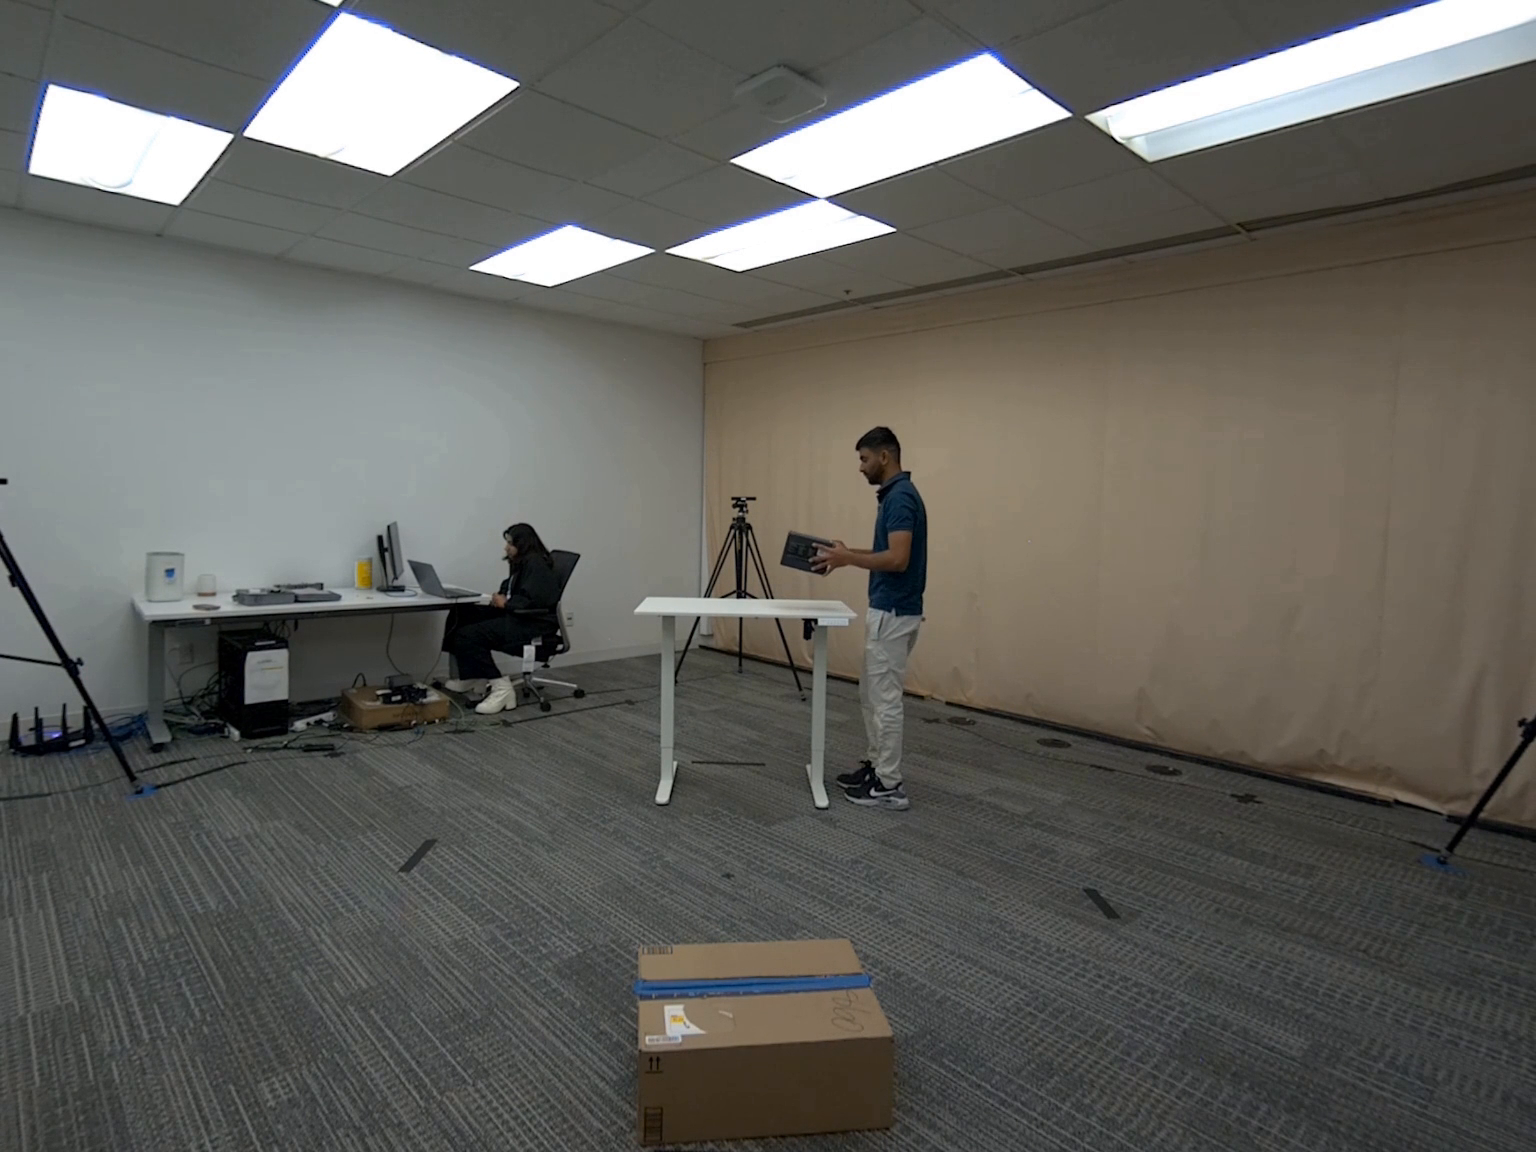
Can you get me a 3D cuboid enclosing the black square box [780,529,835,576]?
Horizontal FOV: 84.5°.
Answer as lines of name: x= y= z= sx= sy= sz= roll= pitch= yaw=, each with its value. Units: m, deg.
black square box: x=0.181 y=-0.115 z=3.997 sx=0.217 sy=0.155 sz=0.228 roll=14 pitch=4 yaw=1
